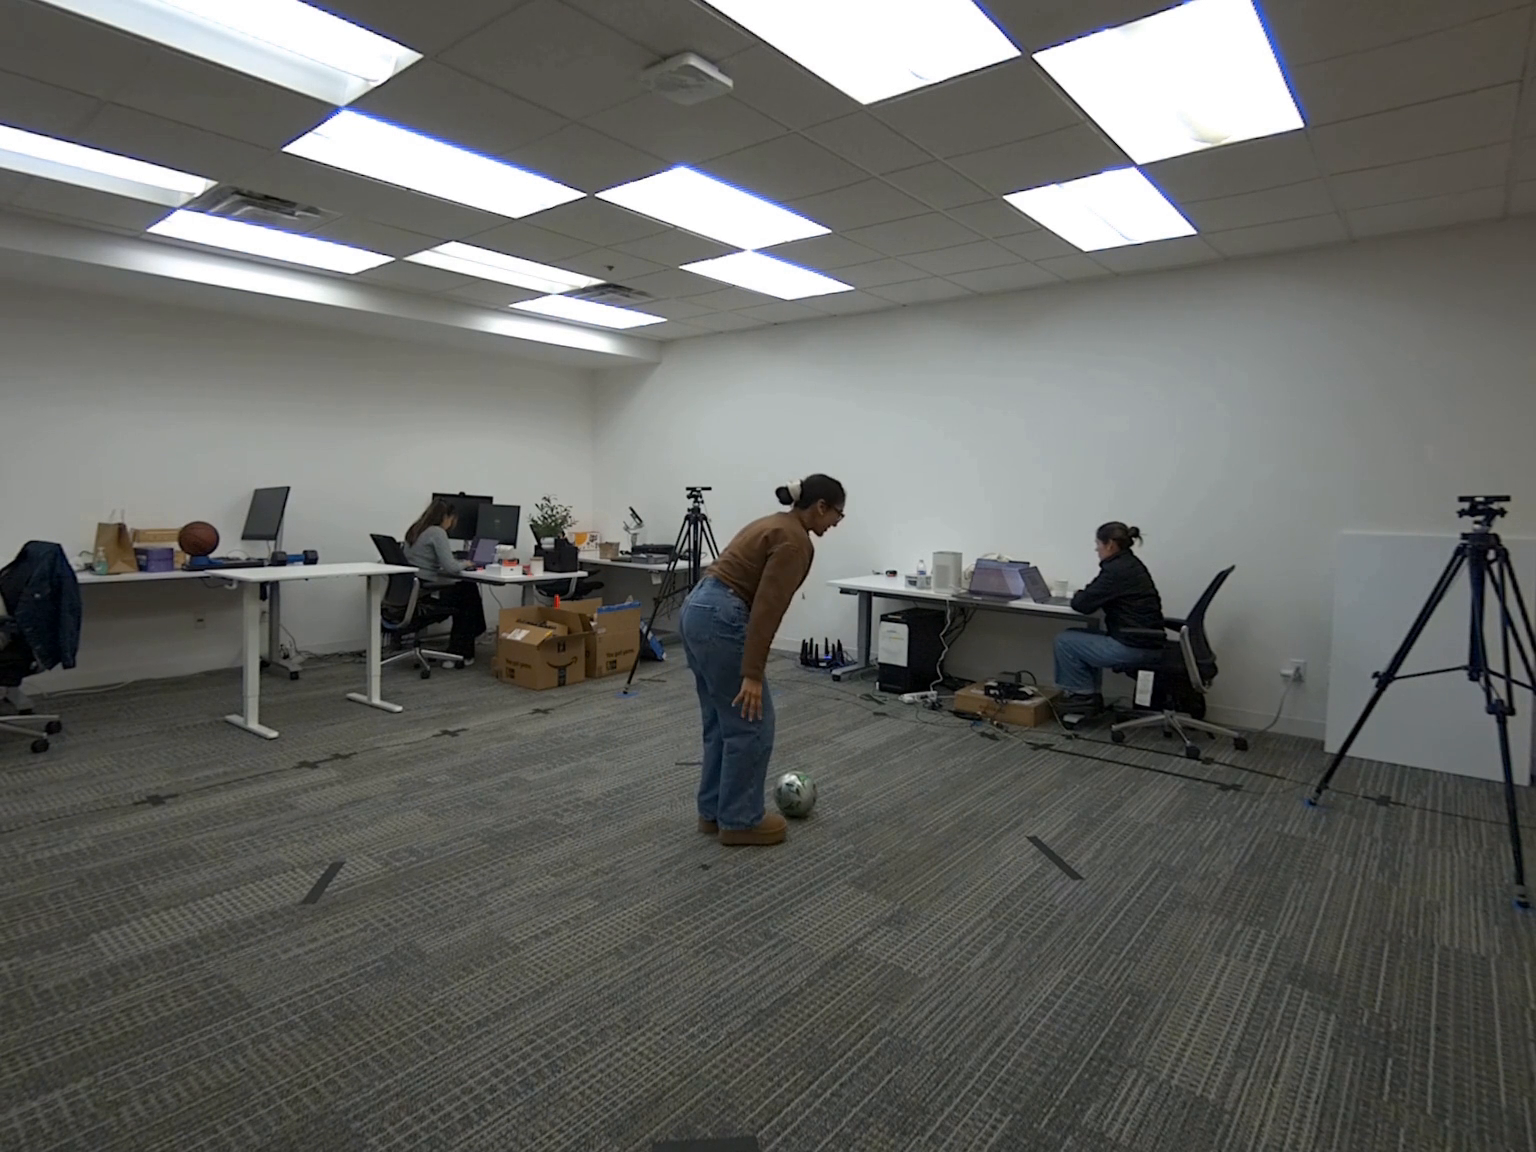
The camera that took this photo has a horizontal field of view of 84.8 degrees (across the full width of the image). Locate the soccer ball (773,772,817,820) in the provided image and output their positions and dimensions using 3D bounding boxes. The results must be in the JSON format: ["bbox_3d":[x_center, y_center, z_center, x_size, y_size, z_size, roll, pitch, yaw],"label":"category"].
[{"bbox_3d":[0.108,0.925,3.633,0.187,0.187,0.188,1,4,-2],"label":"soccer ball"}]
